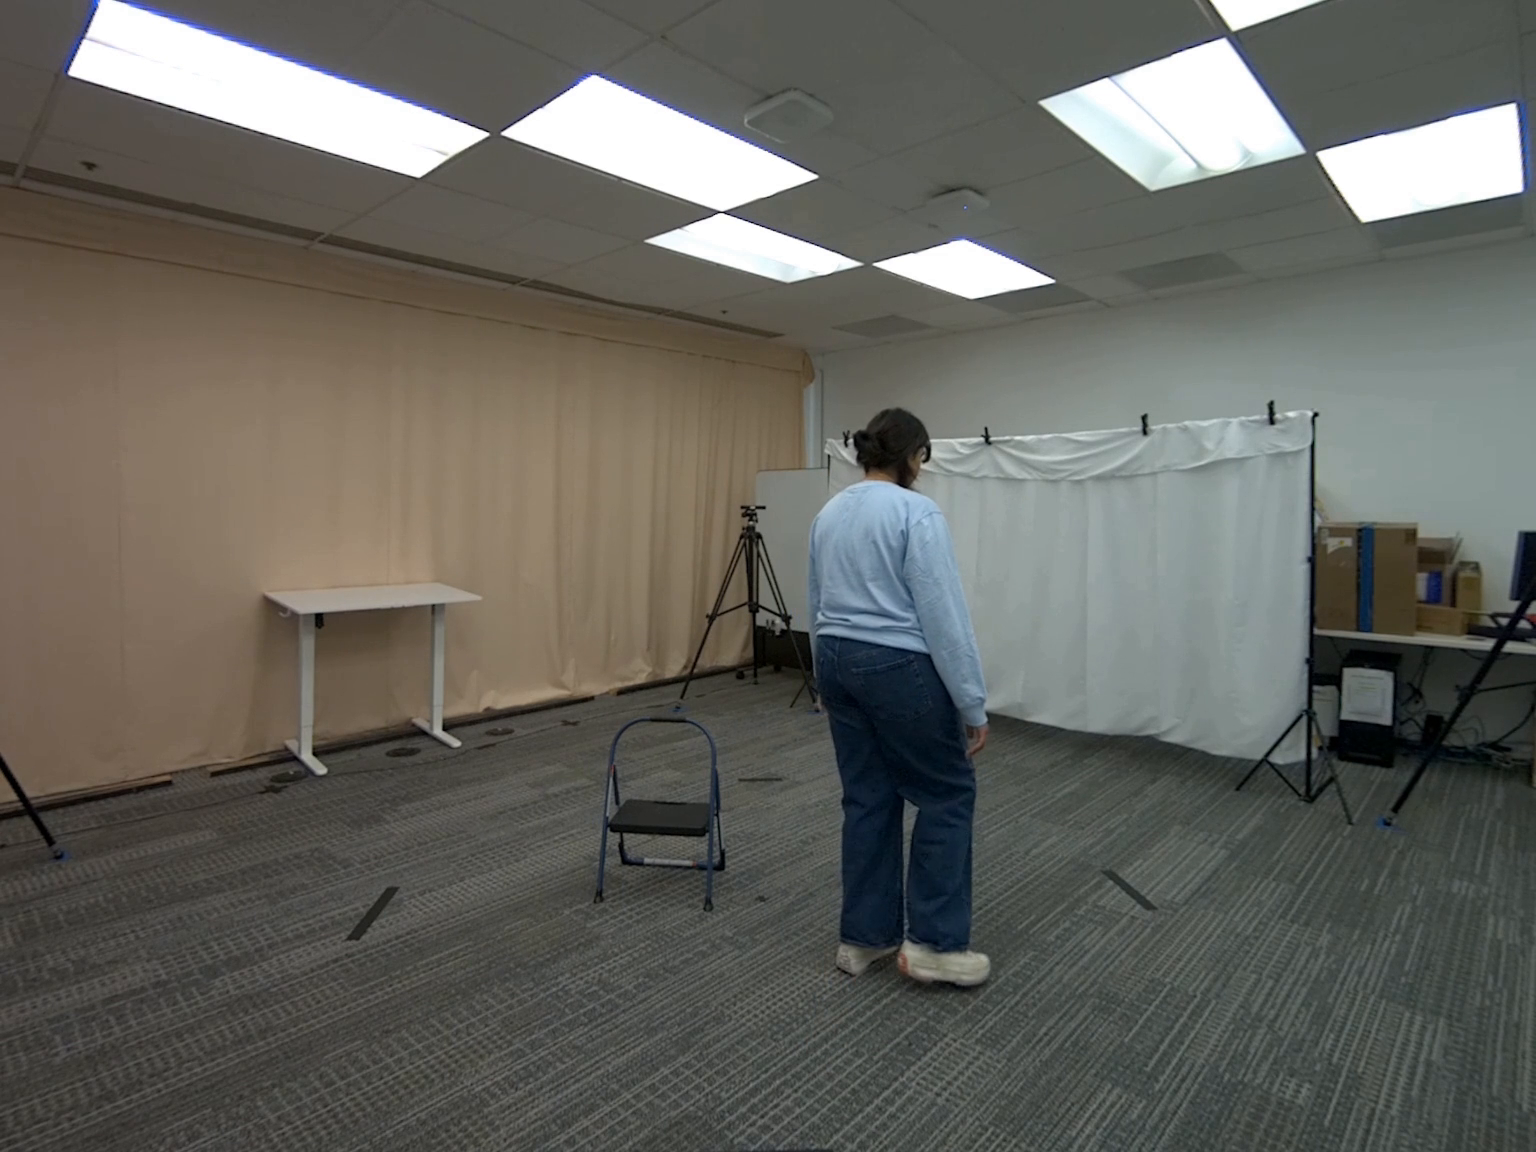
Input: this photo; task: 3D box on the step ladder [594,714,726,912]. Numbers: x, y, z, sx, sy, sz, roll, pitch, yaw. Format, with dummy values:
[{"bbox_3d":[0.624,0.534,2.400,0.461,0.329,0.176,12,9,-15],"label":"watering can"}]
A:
[{"bbox_3d":[-0.387,0.835,3.089,0.435,0.605,0.346,0,3,8],"label":"step ladder"}]
